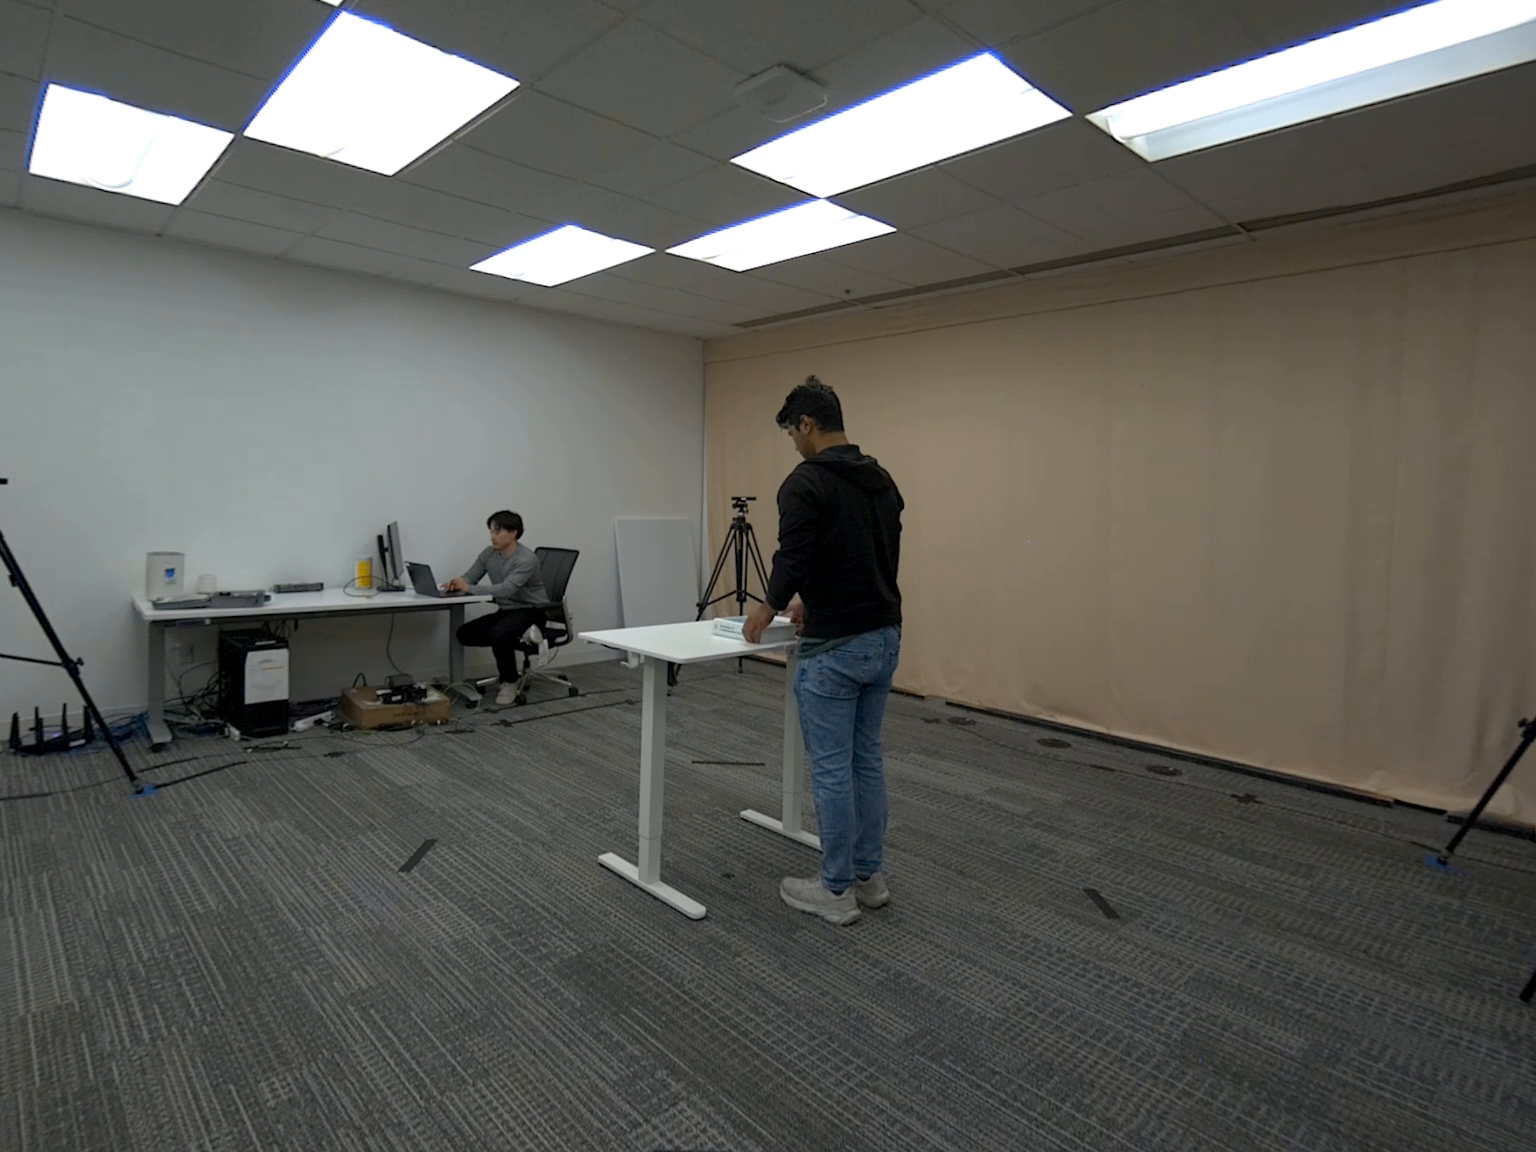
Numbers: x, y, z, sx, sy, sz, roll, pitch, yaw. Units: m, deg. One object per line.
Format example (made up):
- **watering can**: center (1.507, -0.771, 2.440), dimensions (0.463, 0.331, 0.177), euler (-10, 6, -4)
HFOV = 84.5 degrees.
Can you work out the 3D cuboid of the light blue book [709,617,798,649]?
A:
- **light blue book**: center (-0.057, 0.205, 3.108), dimensions (0.187, 0.059, 0.268), euler (-3, 8, -43)
